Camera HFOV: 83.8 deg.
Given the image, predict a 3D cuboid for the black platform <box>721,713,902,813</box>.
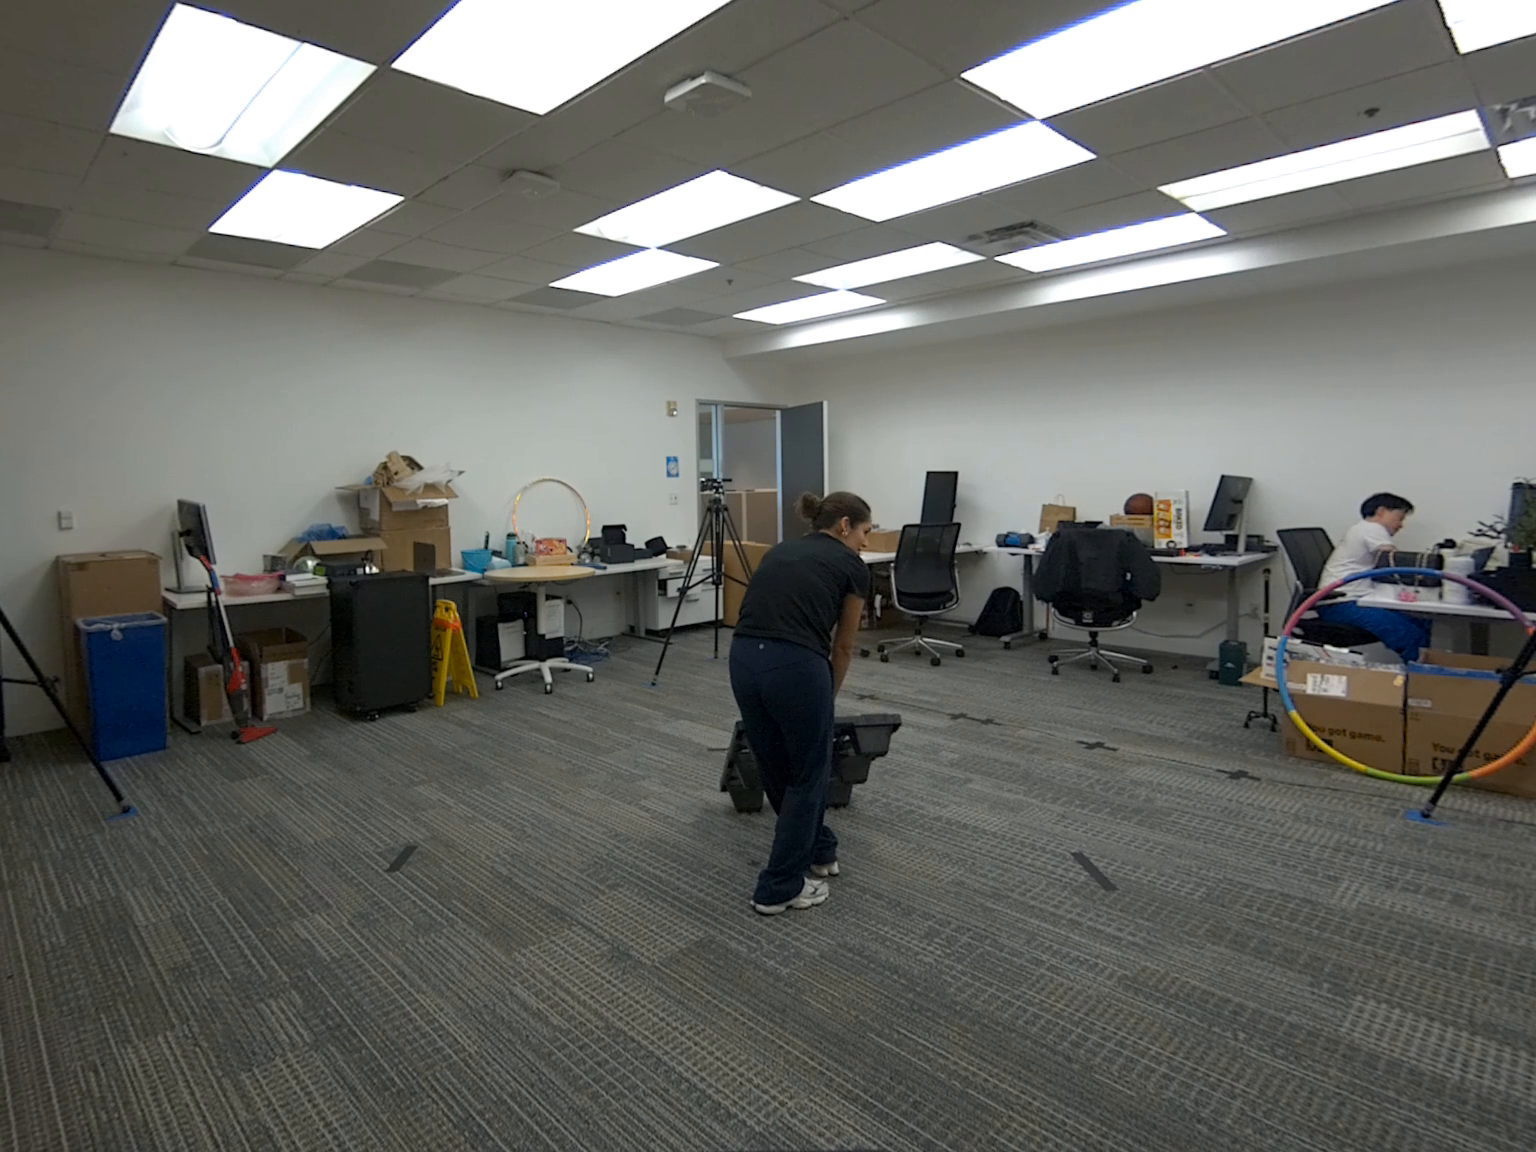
[{"bbox_3d":[0.139,0.743,3.343,0.601,0.147,0.790,-1,-30,-8],"label":"black platform"}]
